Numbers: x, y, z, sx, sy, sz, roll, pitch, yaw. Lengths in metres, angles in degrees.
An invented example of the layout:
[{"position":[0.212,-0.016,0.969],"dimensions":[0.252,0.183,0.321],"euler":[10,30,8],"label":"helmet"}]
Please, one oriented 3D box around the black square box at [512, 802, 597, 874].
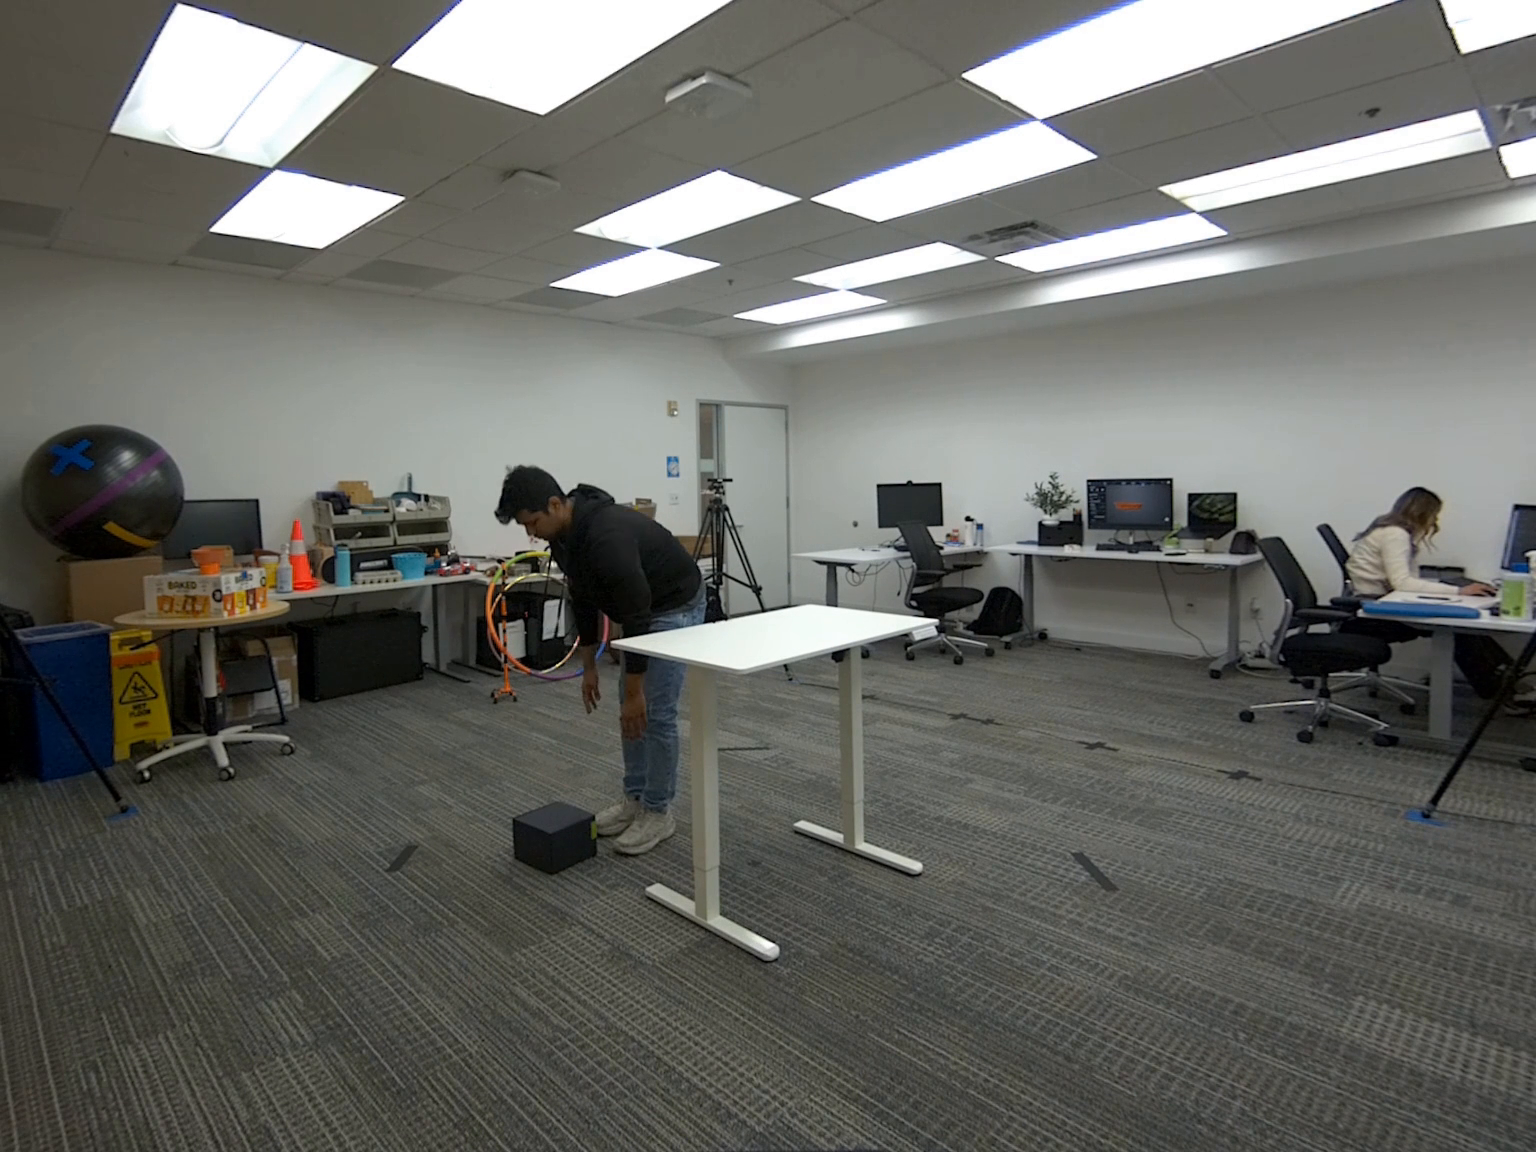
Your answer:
[{"position":[-0.789,0.968,3.179],"dimensions":[0.235,0.155,0.211],"euler":[3,7,39],"label":"black square box"}]
